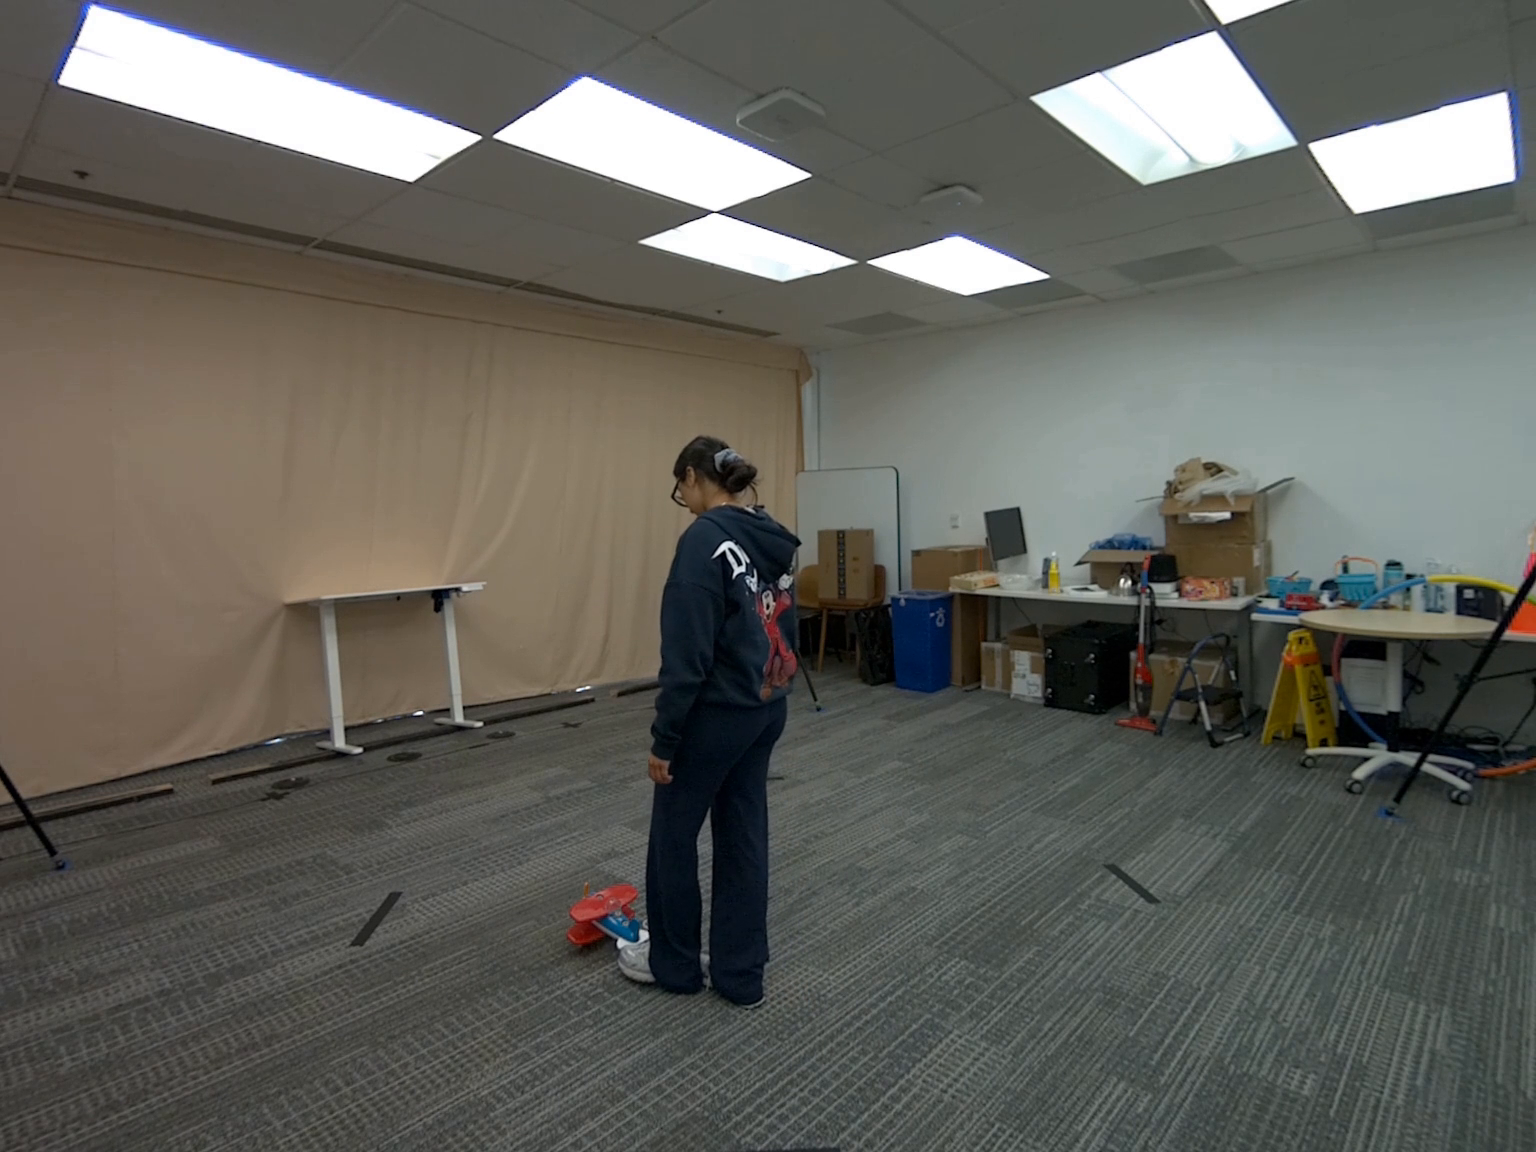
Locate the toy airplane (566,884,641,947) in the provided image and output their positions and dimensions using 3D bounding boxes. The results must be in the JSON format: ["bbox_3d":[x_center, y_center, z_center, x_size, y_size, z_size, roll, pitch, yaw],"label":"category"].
[{"bbox_3d":[-0.487,1.101,2.687,0.263,0.156,0.248,-1,5,11],"label":"toy airplane"}]
